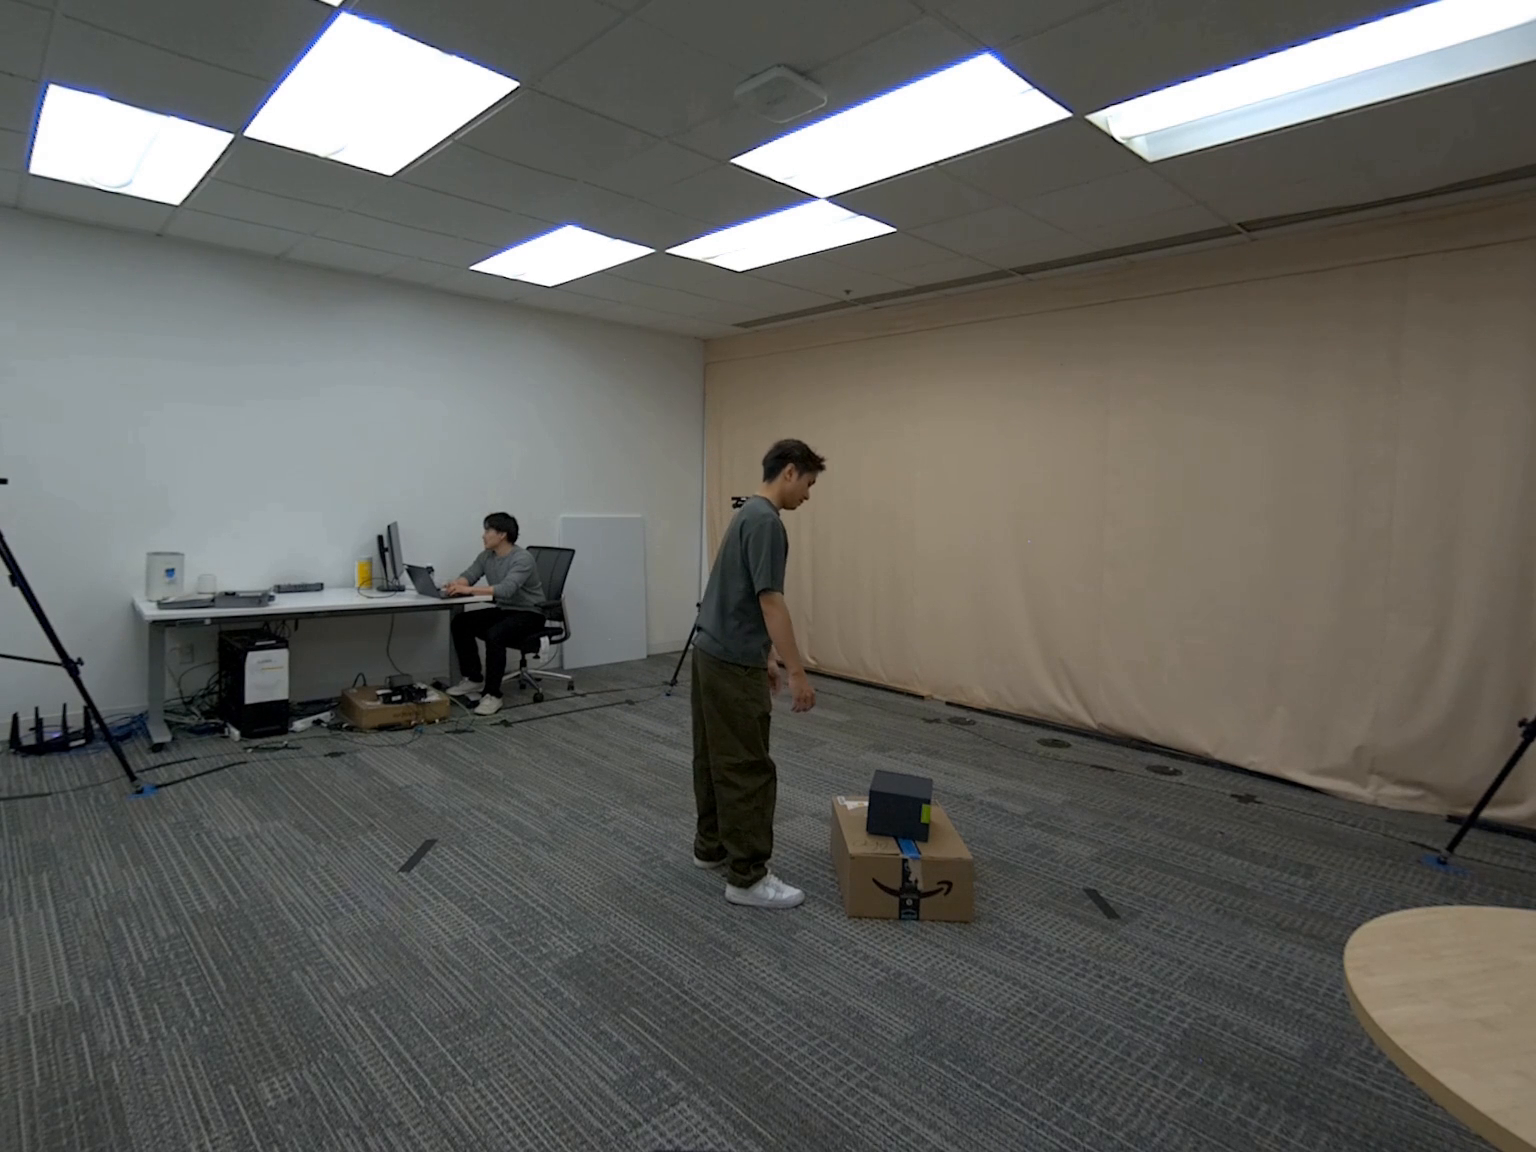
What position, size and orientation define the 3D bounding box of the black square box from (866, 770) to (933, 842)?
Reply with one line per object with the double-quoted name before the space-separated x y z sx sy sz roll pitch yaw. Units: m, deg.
"black square box" 0.471 0.828 3.053 0.219 0.155 0.226 5 5 12
